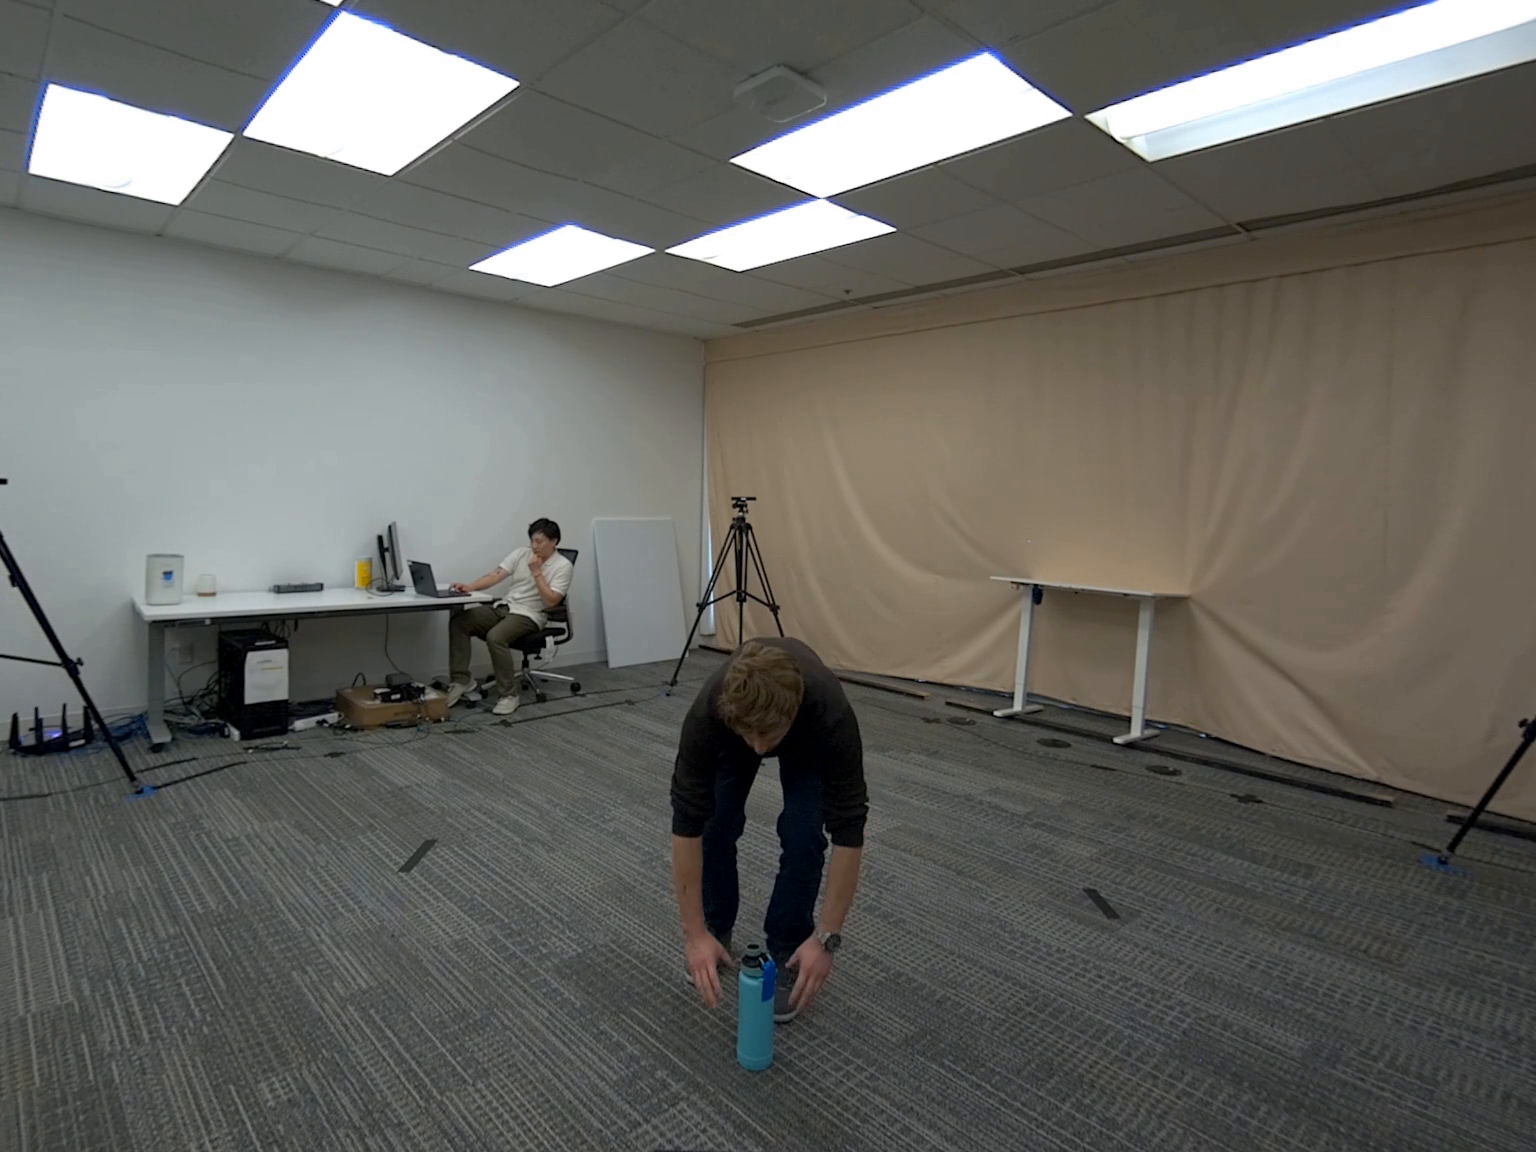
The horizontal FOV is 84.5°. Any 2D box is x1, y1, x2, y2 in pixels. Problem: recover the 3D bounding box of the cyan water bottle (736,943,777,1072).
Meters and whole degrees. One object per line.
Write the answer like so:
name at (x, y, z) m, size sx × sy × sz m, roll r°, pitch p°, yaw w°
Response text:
cyan water bottle at (-0.036, 1.059, 2.099) m, size 0.092 × 0.282 × 0.092 m, roll 0°, pitch 4°, yaw -1°
